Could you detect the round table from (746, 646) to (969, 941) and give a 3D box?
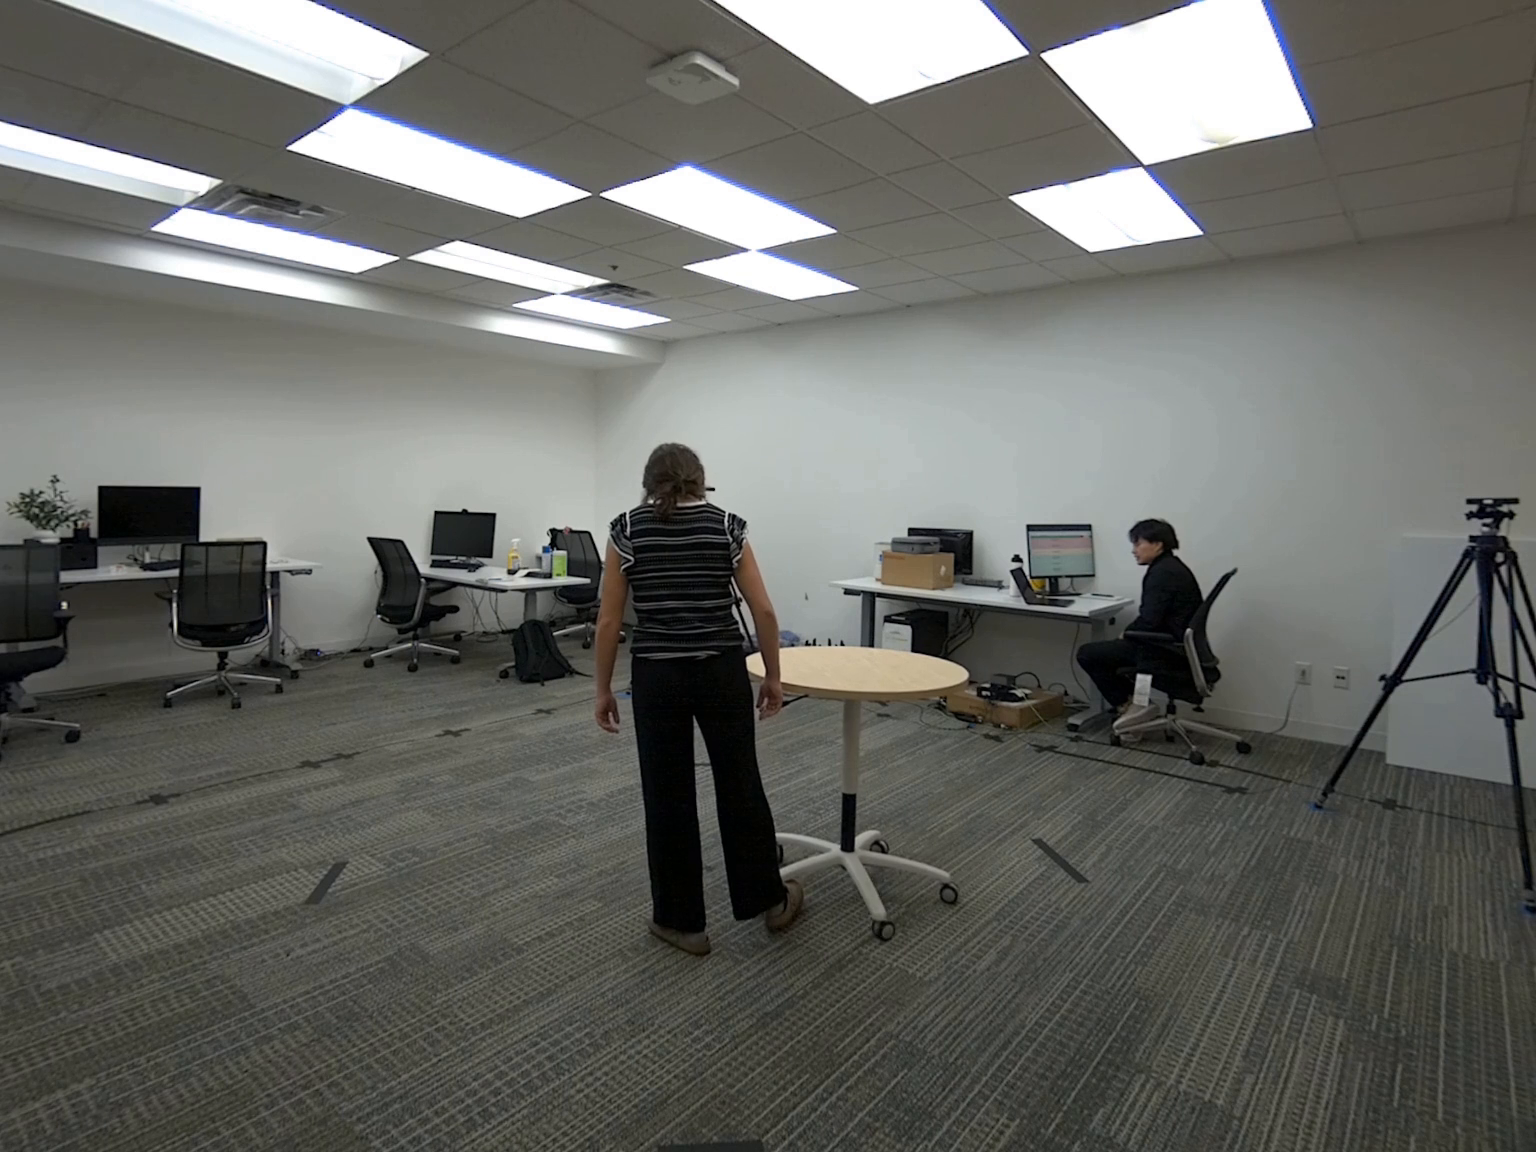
[{"bbox_3d":[0.291,0.699,2.948,0.784,0.784,0.789,1,4,-2],"label":"round table"}]
